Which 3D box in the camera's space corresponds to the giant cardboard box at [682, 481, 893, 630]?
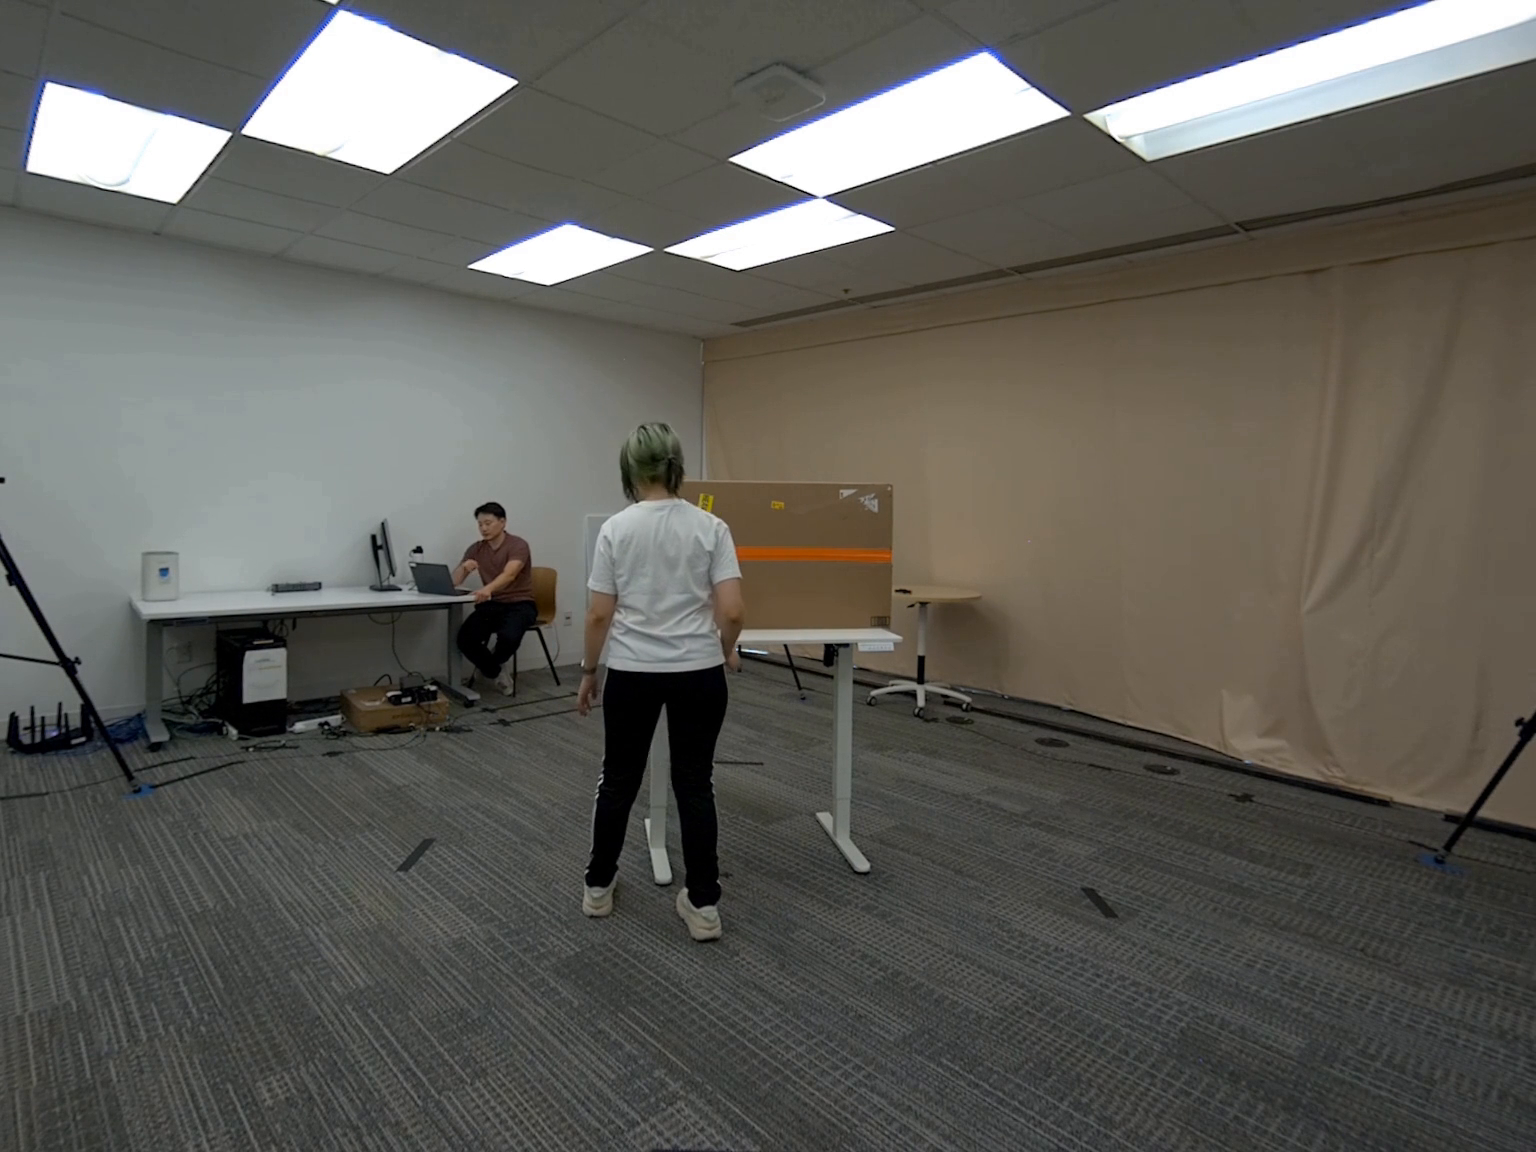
[{"bbox_3d":[-0.054,-0.099,3.470,1.019,0.582,0.451,-1,5,-10],"label":"giant cardboard box"}]
